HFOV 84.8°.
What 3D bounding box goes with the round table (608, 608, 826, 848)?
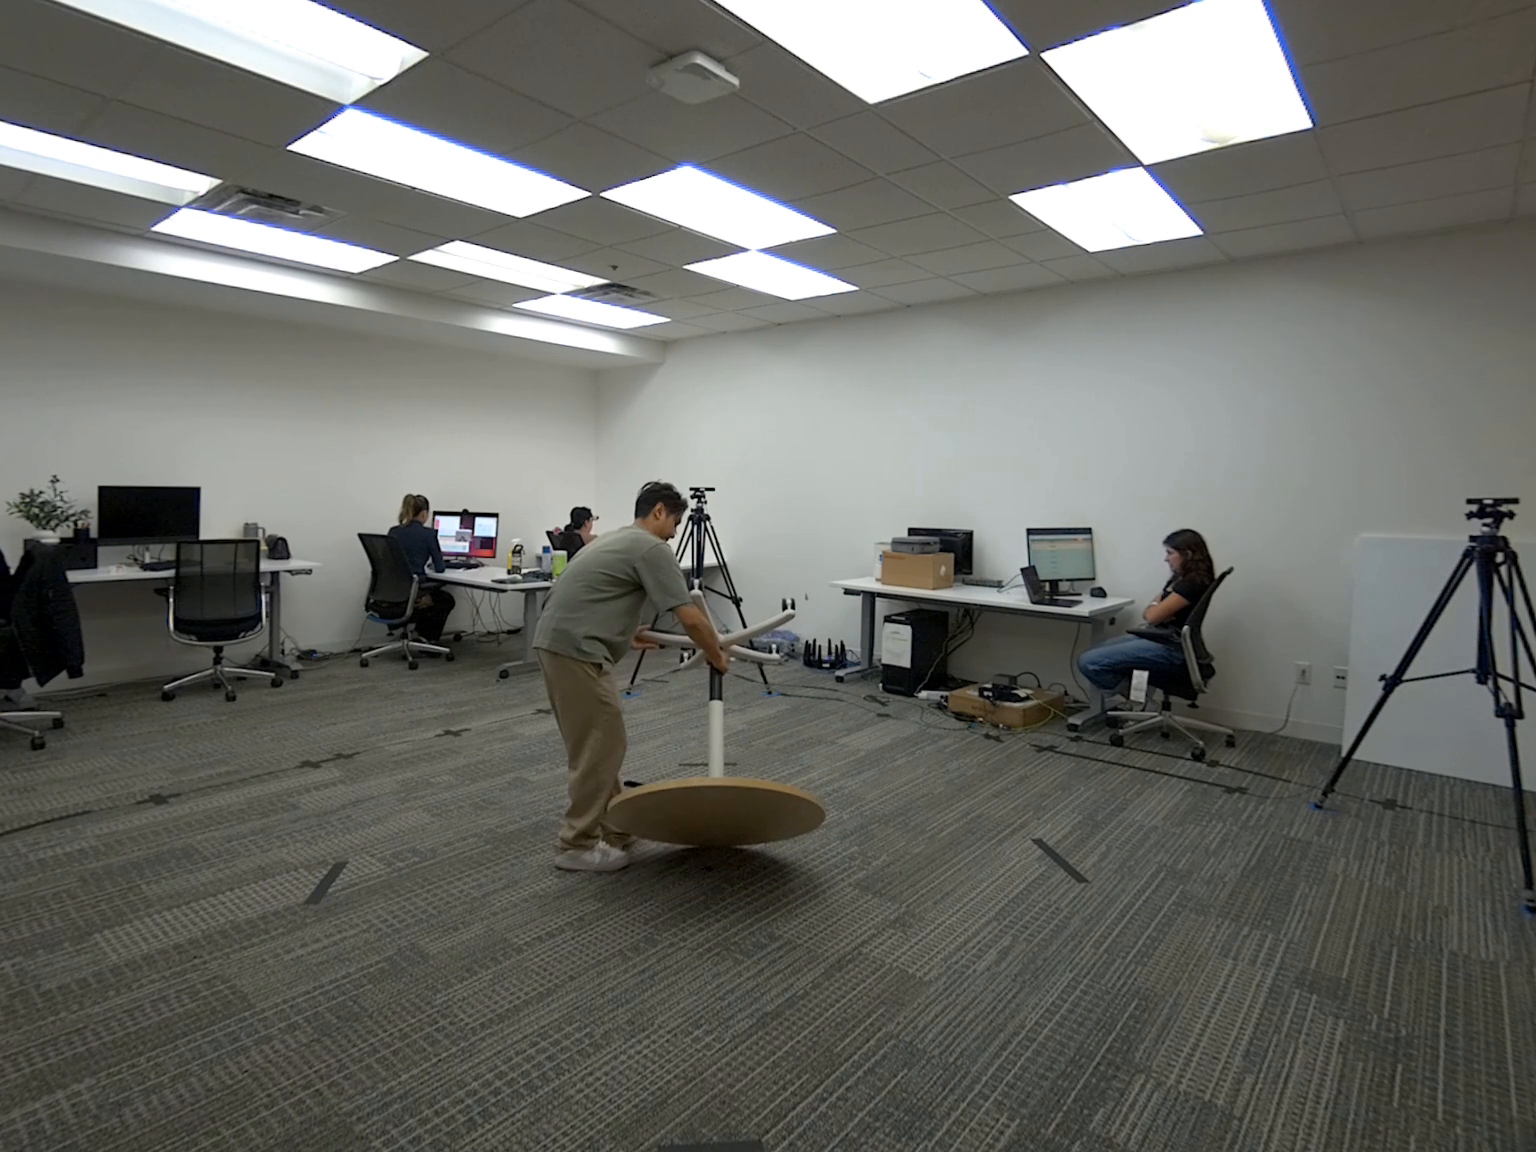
[{"bbox_3d":[-0.197,0.511,3.200,0.784,0.808,0.765,0,-33,-2],"label":"round table"}]
